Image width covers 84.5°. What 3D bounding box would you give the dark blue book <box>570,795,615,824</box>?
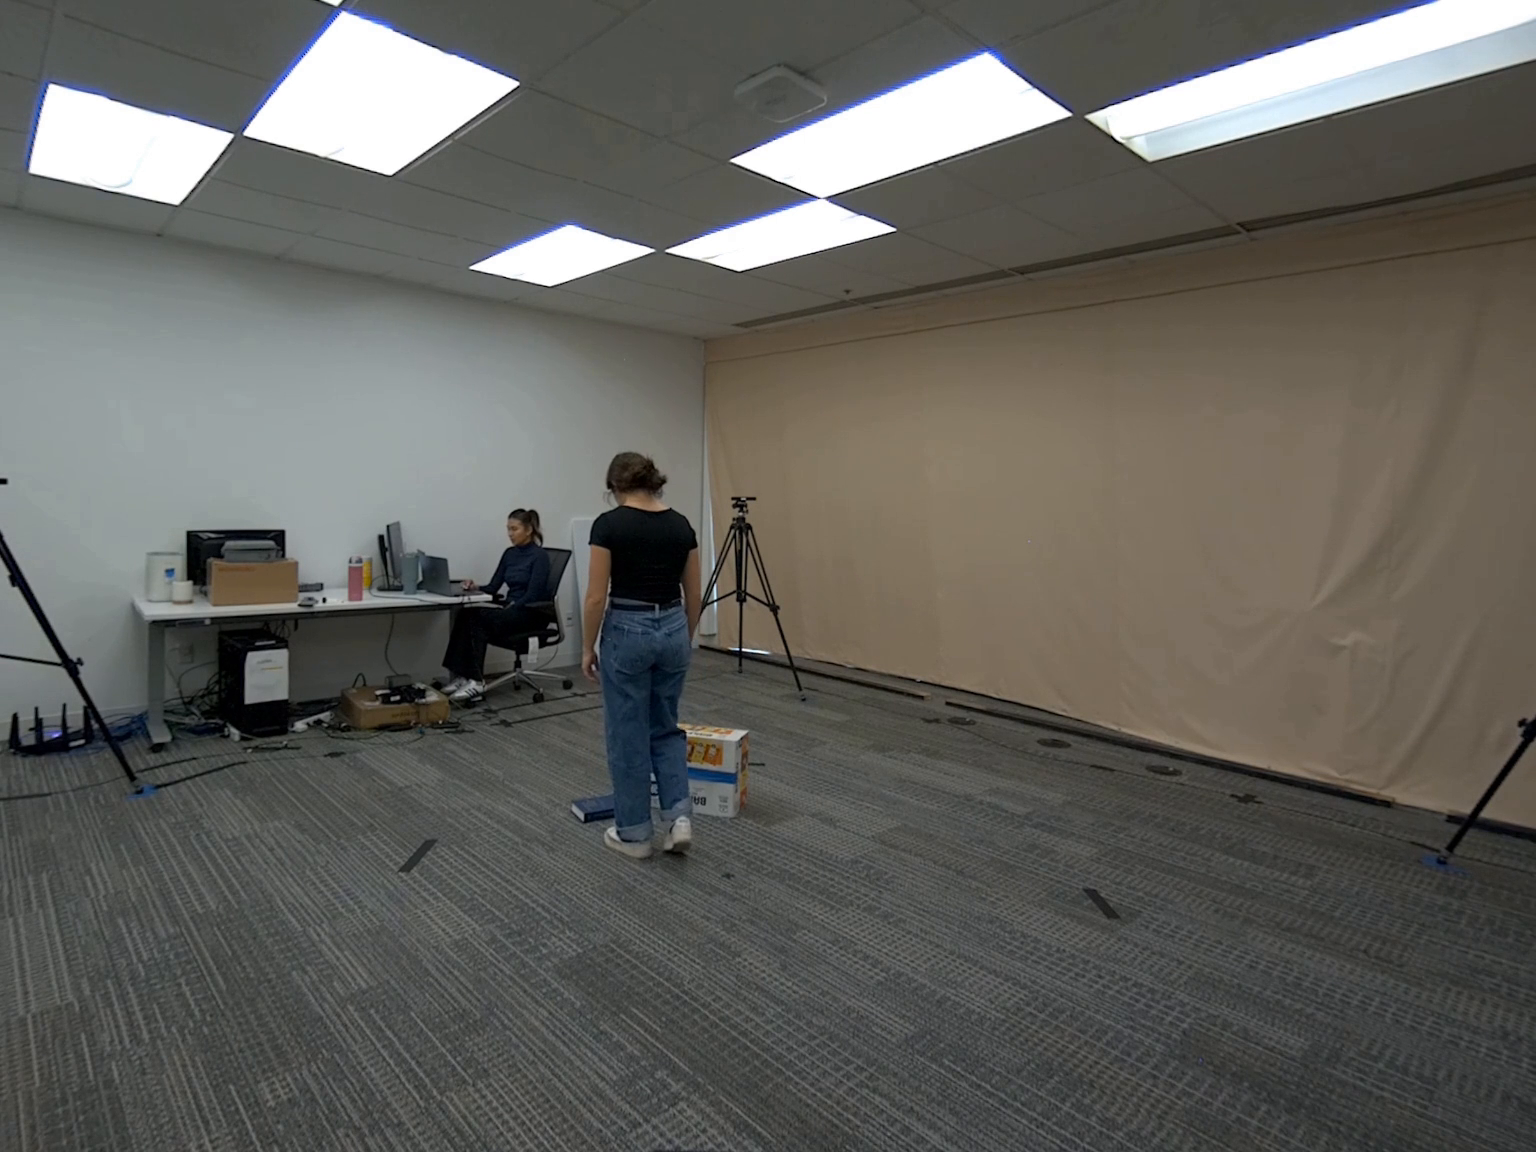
[{"bbox_3d":[-0.735,1.021,3.703,0.240,0.045,0.167,-1,5,-32],"label":"dark blue book"}]
